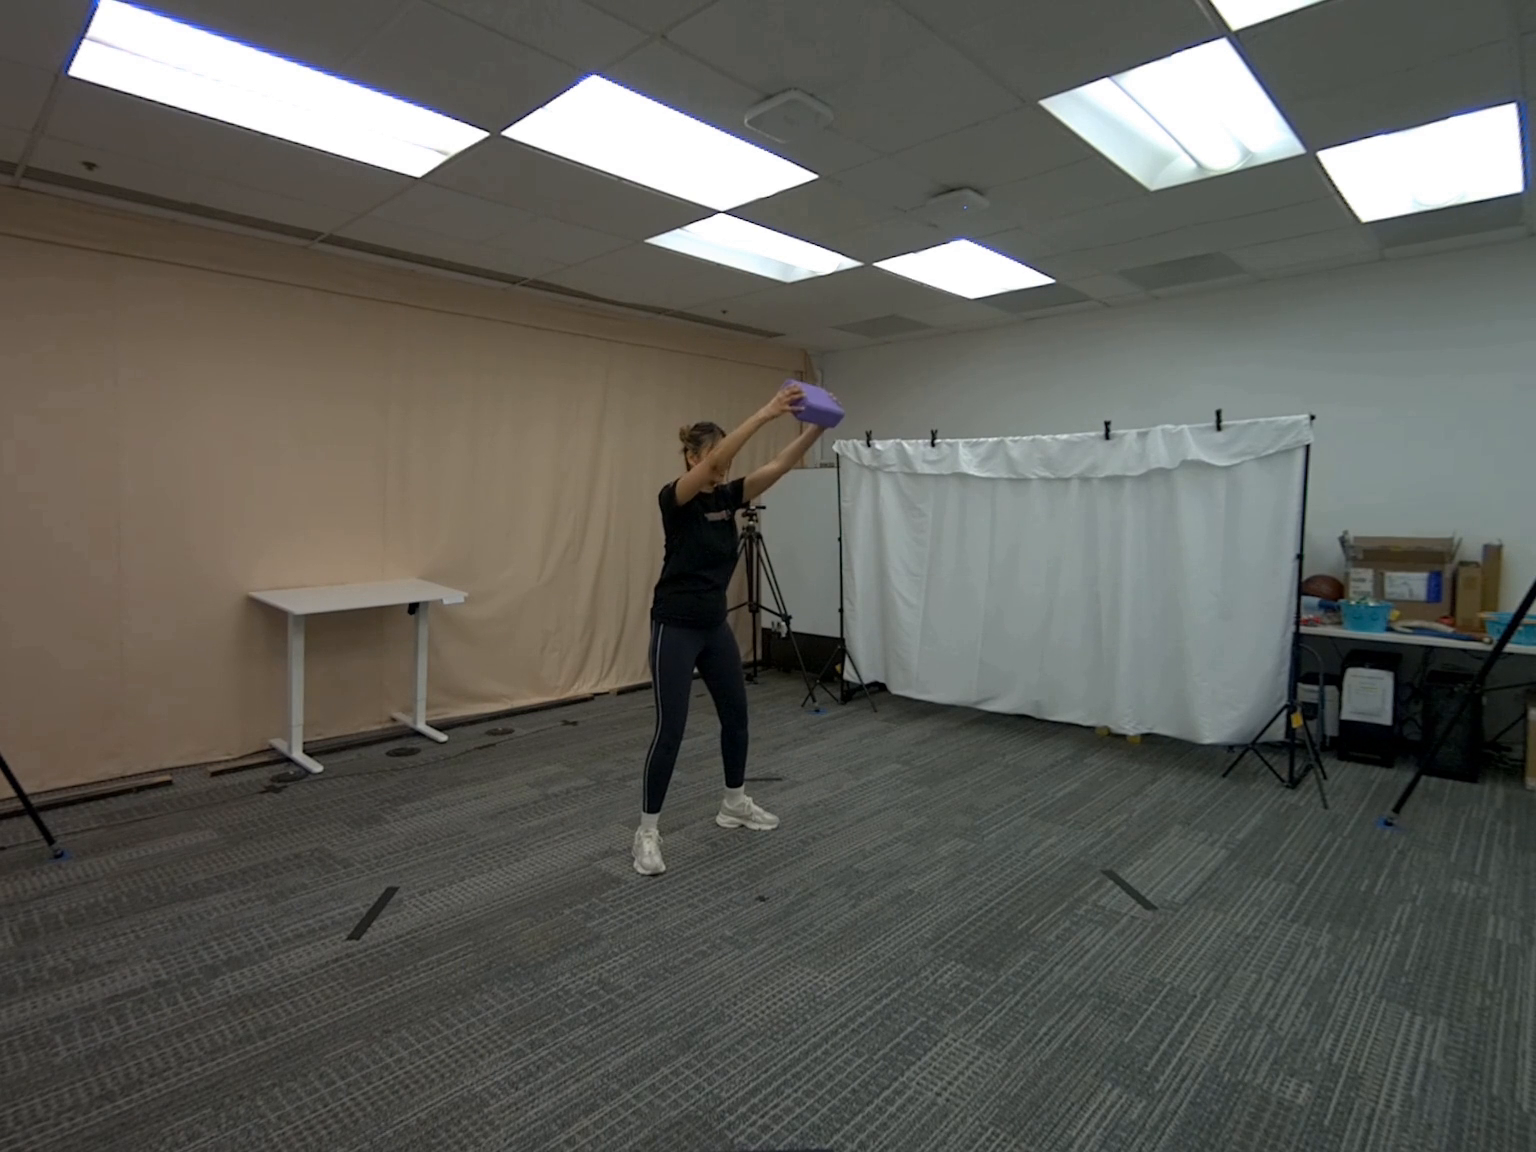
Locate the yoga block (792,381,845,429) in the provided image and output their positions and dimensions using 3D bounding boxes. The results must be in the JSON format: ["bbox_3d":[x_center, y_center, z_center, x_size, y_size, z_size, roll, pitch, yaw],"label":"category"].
[{"bbox_3d":[0.153,-0.612,3.013,0.222,0.077,0.153,2,45,-50],"label":"yoga block"}]
